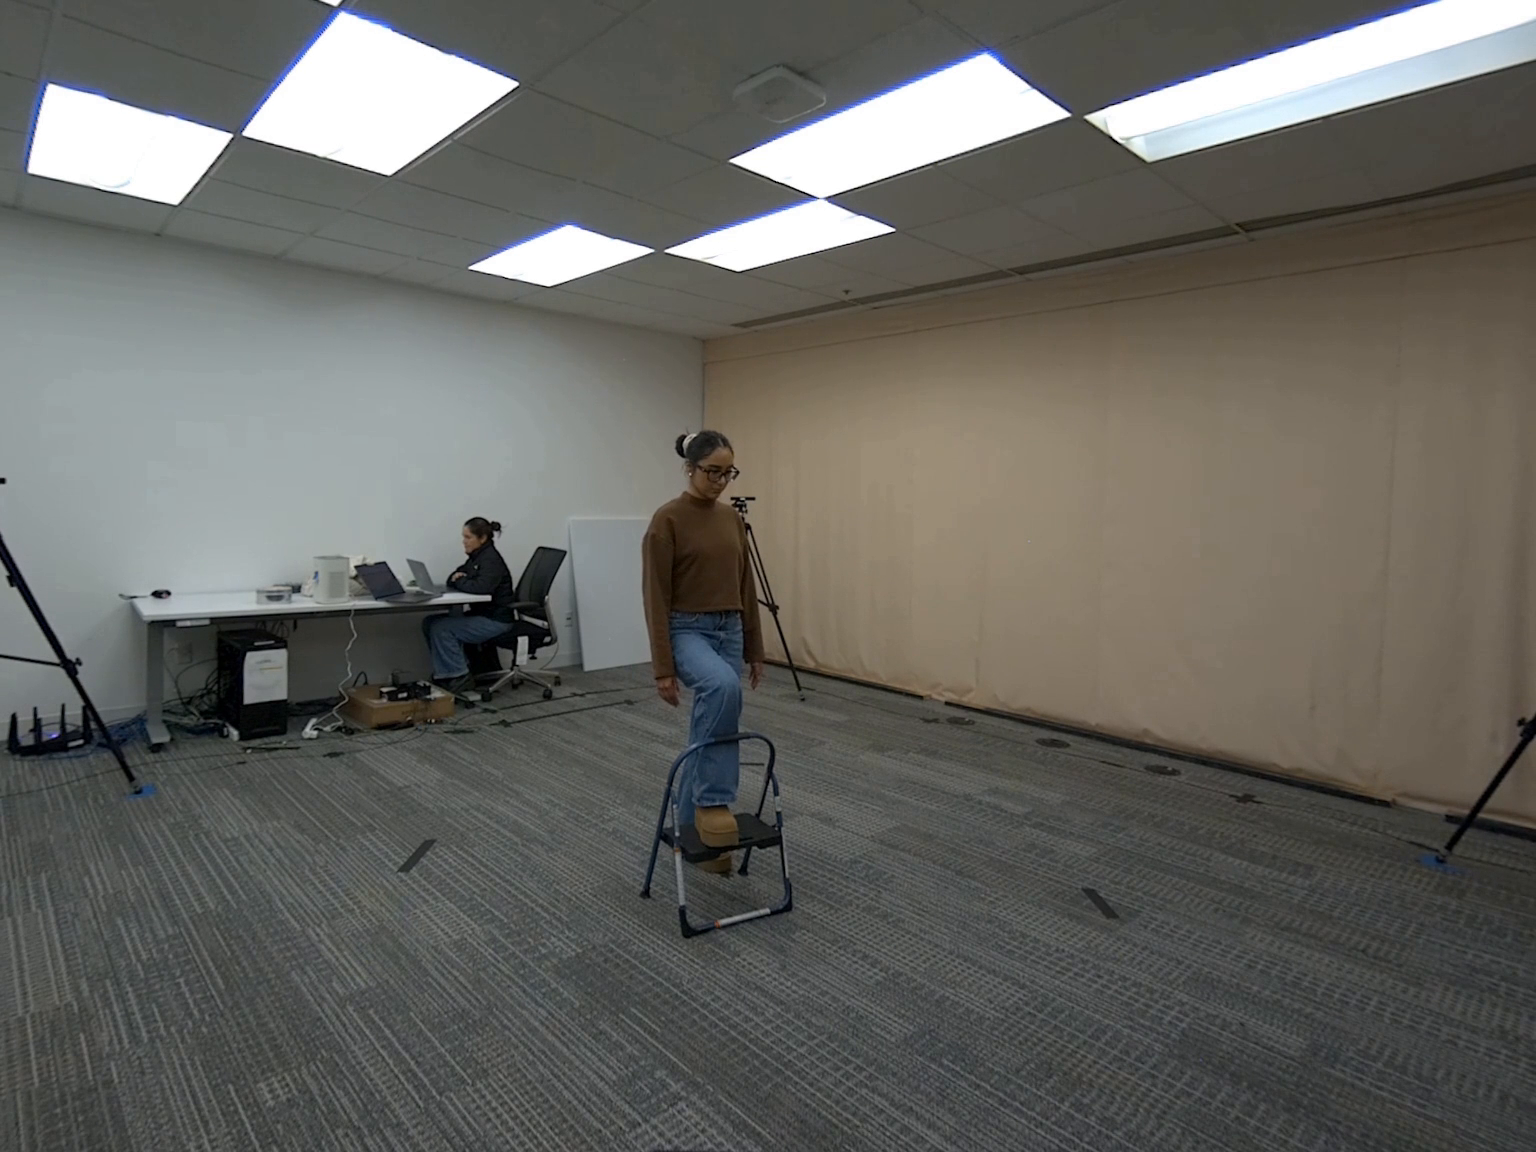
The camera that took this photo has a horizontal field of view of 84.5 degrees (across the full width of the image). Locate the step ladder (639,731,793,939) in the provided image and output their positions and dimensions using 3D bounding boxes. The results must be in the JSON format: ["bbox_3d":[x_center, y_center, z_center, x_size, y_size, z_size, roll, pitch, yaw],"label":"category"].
[{"bbox_3d":[-0.176,0.824,2.880,0.421,0.604,0.357,-1,4,-32],"label":"step ladder"}]
